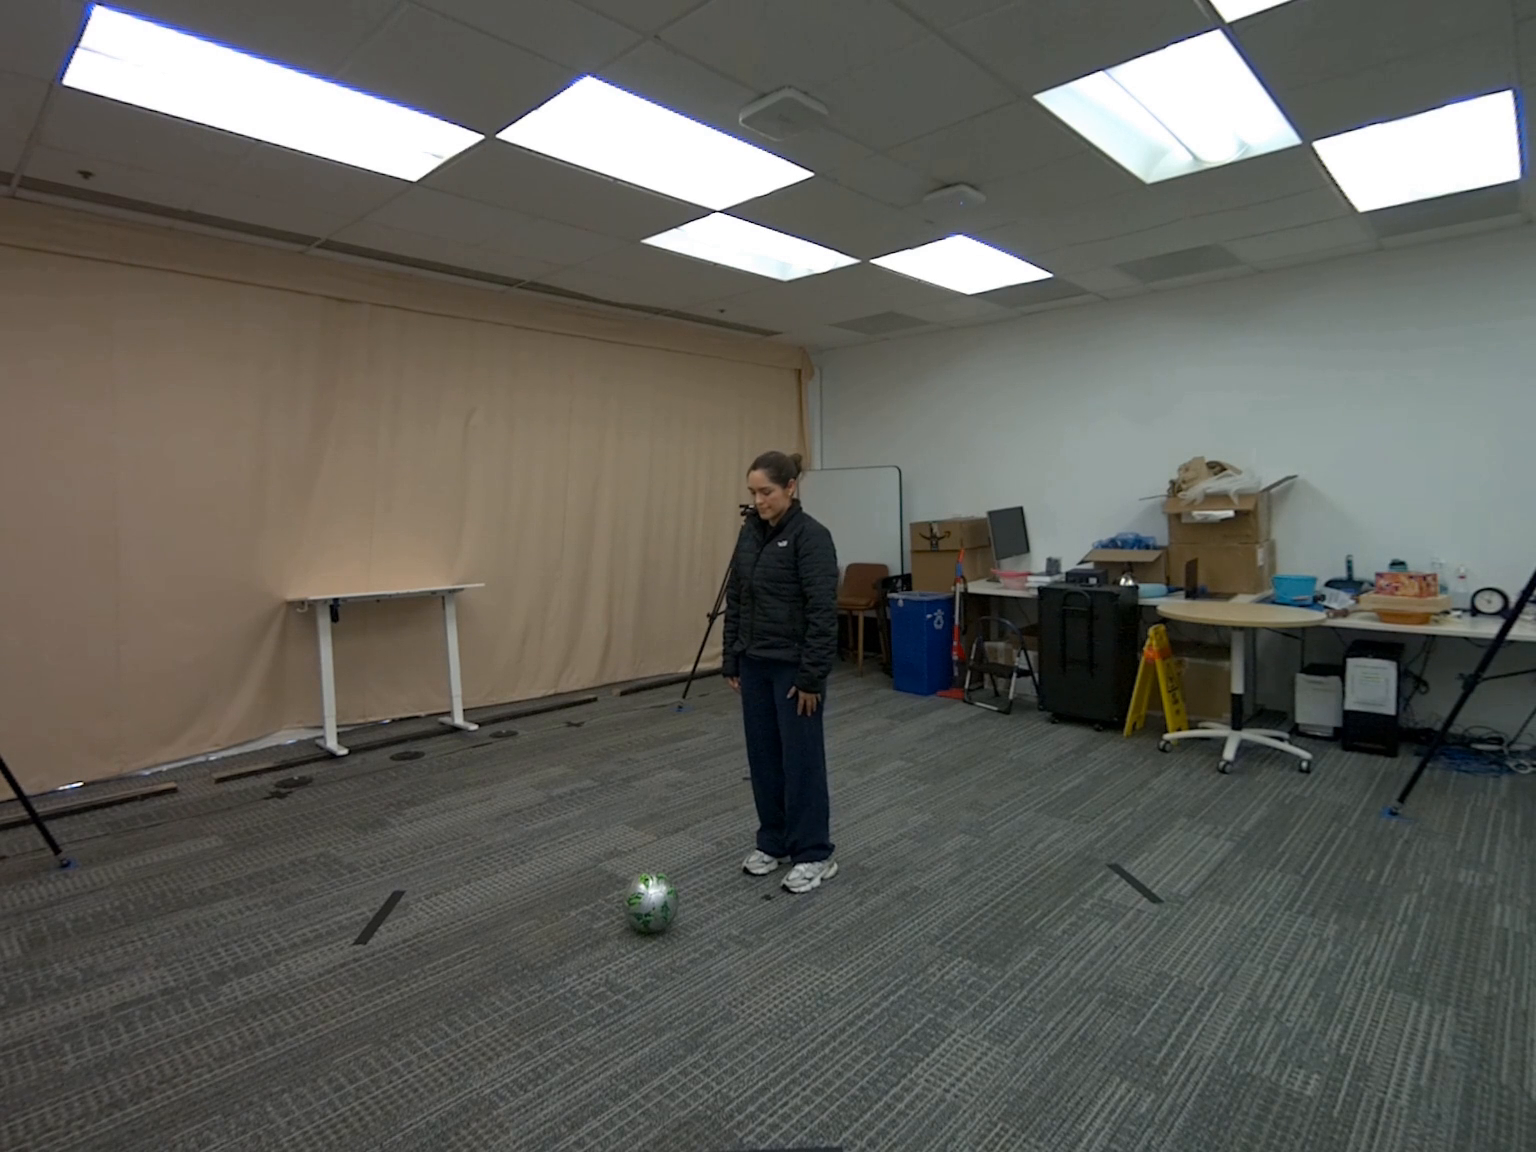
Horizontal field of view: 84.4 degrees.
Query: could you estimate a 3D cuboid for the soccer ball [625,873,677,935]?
[{"bbox_3d":[-0.385,1.074,2.769,0.187,0.187,0.188,-1,4,-2],"label":"soccer ball"}]
